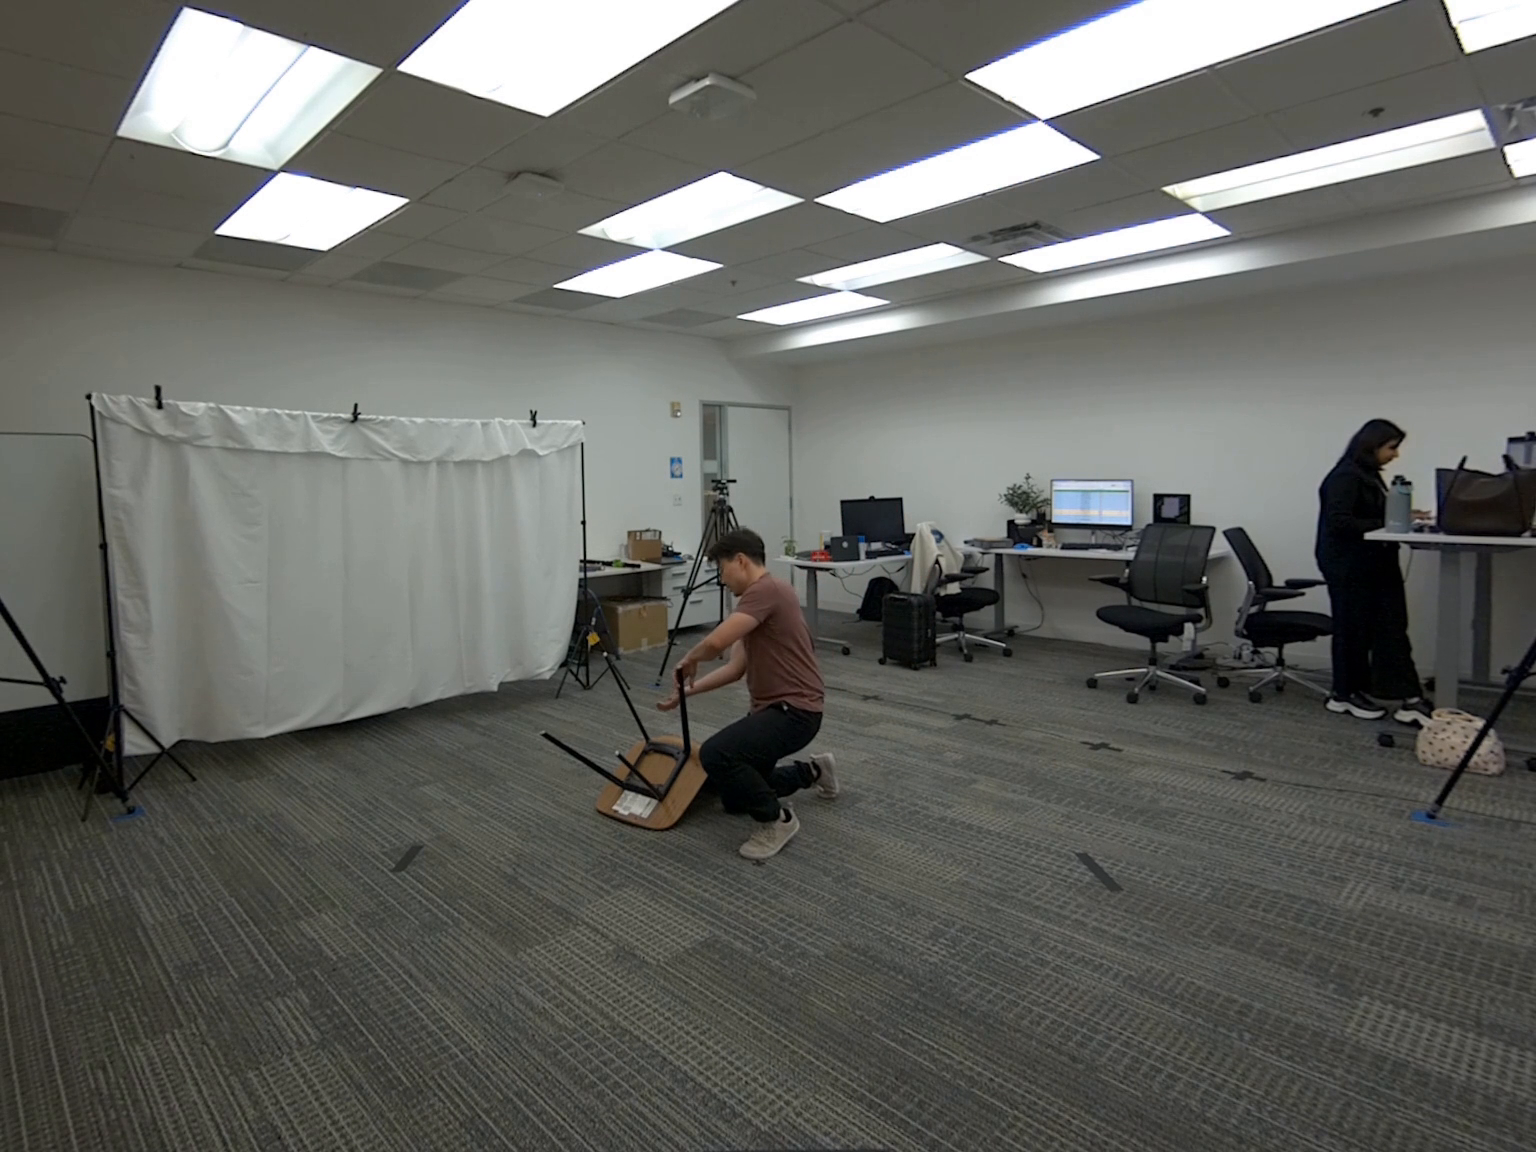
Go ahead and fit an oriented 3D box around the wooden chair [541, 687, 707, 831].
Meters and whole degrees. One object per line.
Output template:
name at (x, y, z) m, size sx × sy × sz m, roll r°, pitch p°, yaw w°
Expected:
wooden chair at (-0.486, 0.827, 3.650) m, size 0.492 × 0.847 × 0.526 m, roll 2°, pitch 46°, yaw 37°
